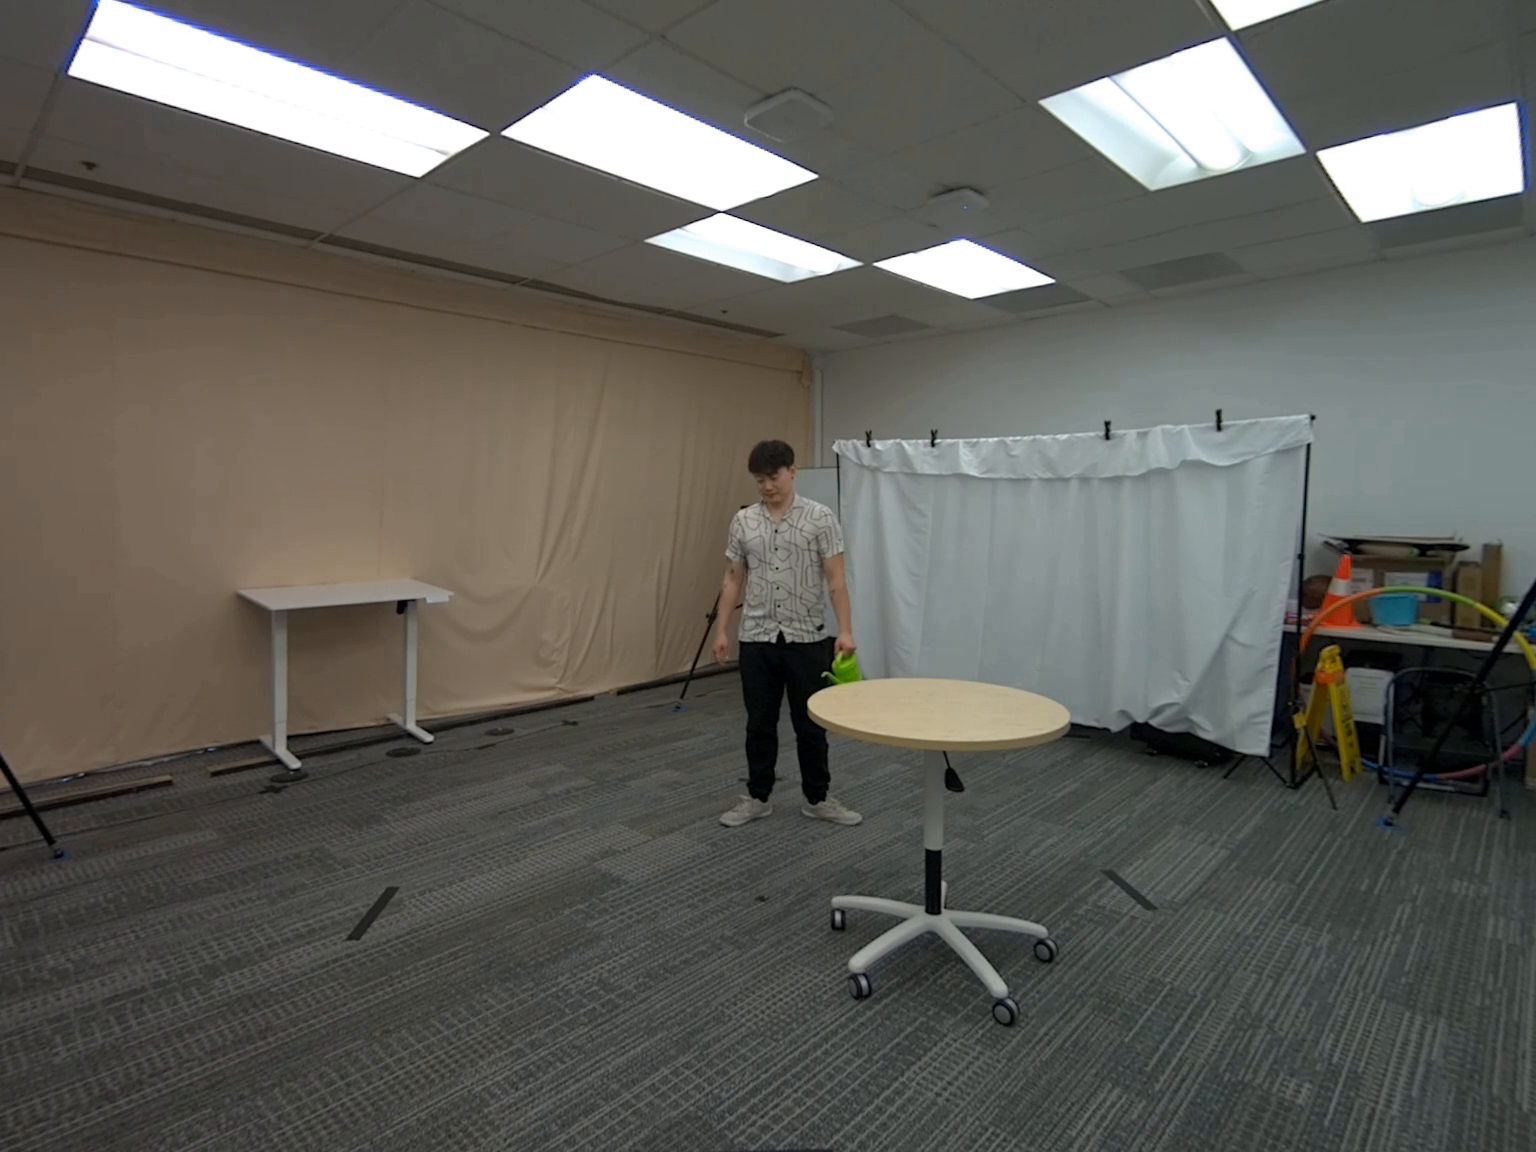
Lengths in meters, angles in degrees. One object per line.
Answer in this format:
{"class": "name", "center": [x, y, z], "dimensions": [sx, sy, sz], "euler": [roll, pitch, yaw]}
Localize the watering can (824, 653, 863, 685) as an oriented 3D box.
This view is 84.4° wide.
{"class": "watering can", "center": [0.295, 0.406, 3.450], "dimensions": [0.273, 0.174, 0.101], "euler": [-30, 22, -36]}
